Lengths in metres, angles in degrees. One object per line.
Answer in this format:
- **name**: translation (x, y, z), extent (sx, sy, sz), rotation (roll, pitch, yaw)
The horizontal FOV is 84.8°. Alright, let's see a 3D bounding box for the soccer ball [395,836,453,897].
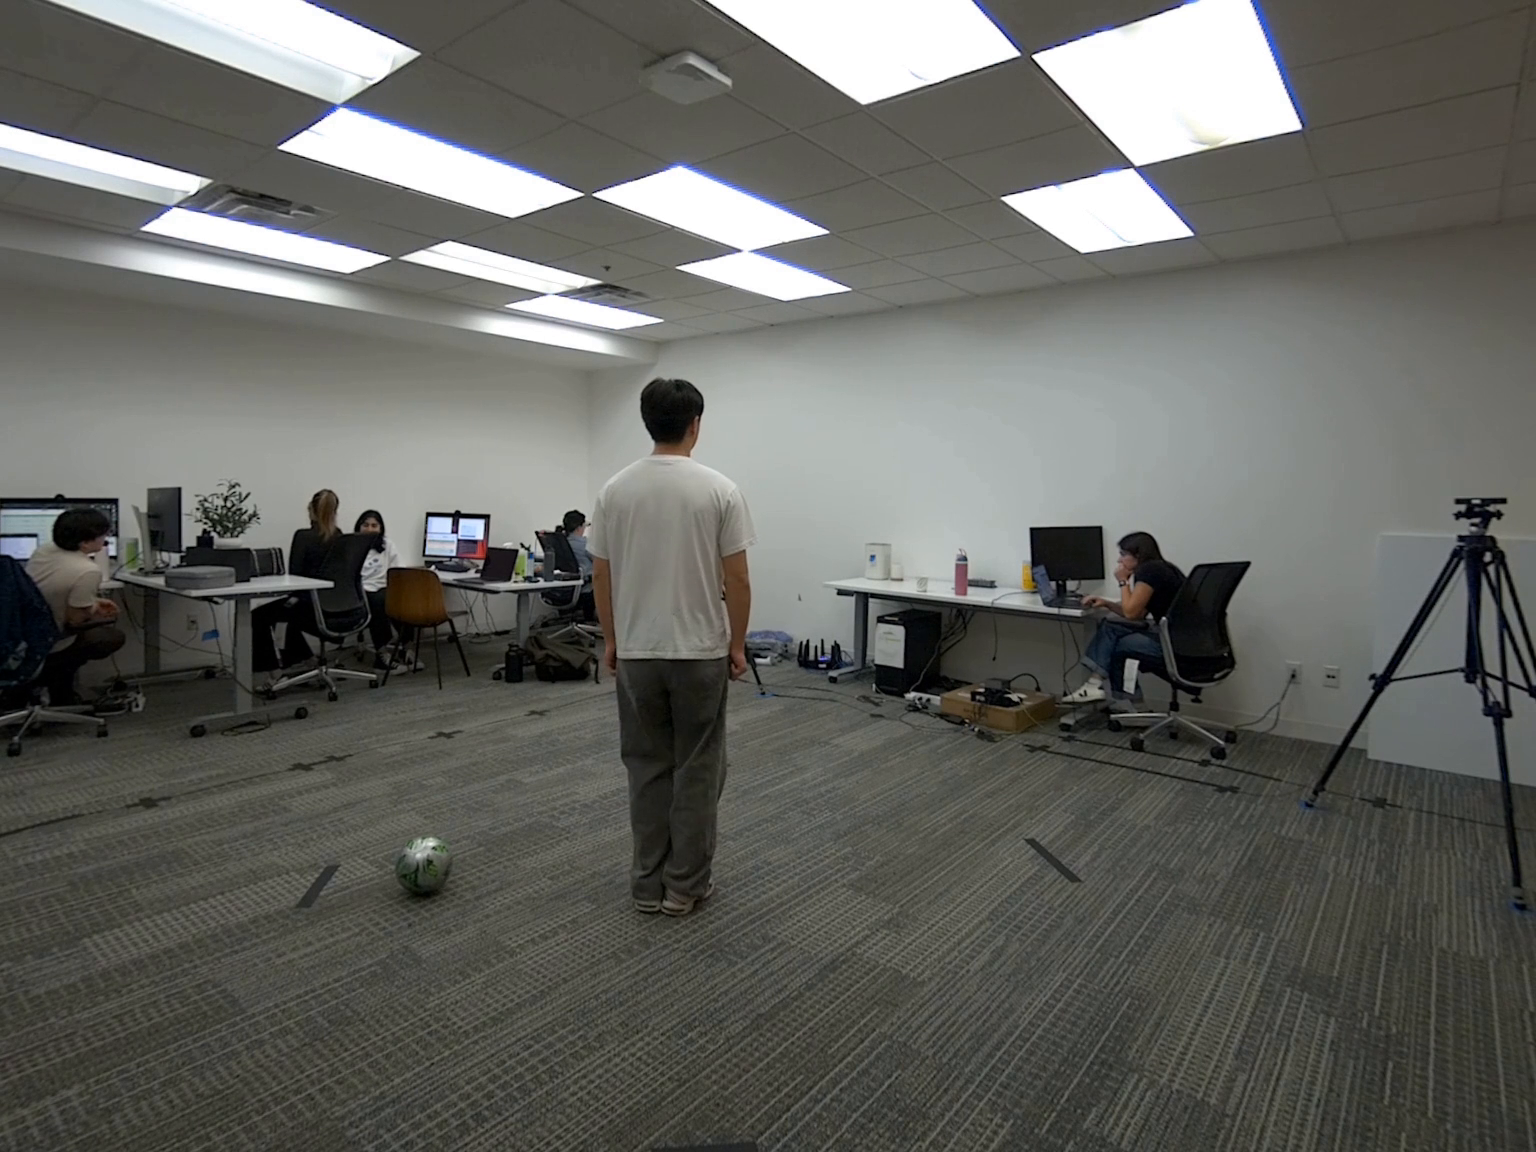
- **soccer ball**: translation (-1.175, 0.982, 2.916), extent (0.187, 0.187, 0.188), rotation (1, 4, -2)
